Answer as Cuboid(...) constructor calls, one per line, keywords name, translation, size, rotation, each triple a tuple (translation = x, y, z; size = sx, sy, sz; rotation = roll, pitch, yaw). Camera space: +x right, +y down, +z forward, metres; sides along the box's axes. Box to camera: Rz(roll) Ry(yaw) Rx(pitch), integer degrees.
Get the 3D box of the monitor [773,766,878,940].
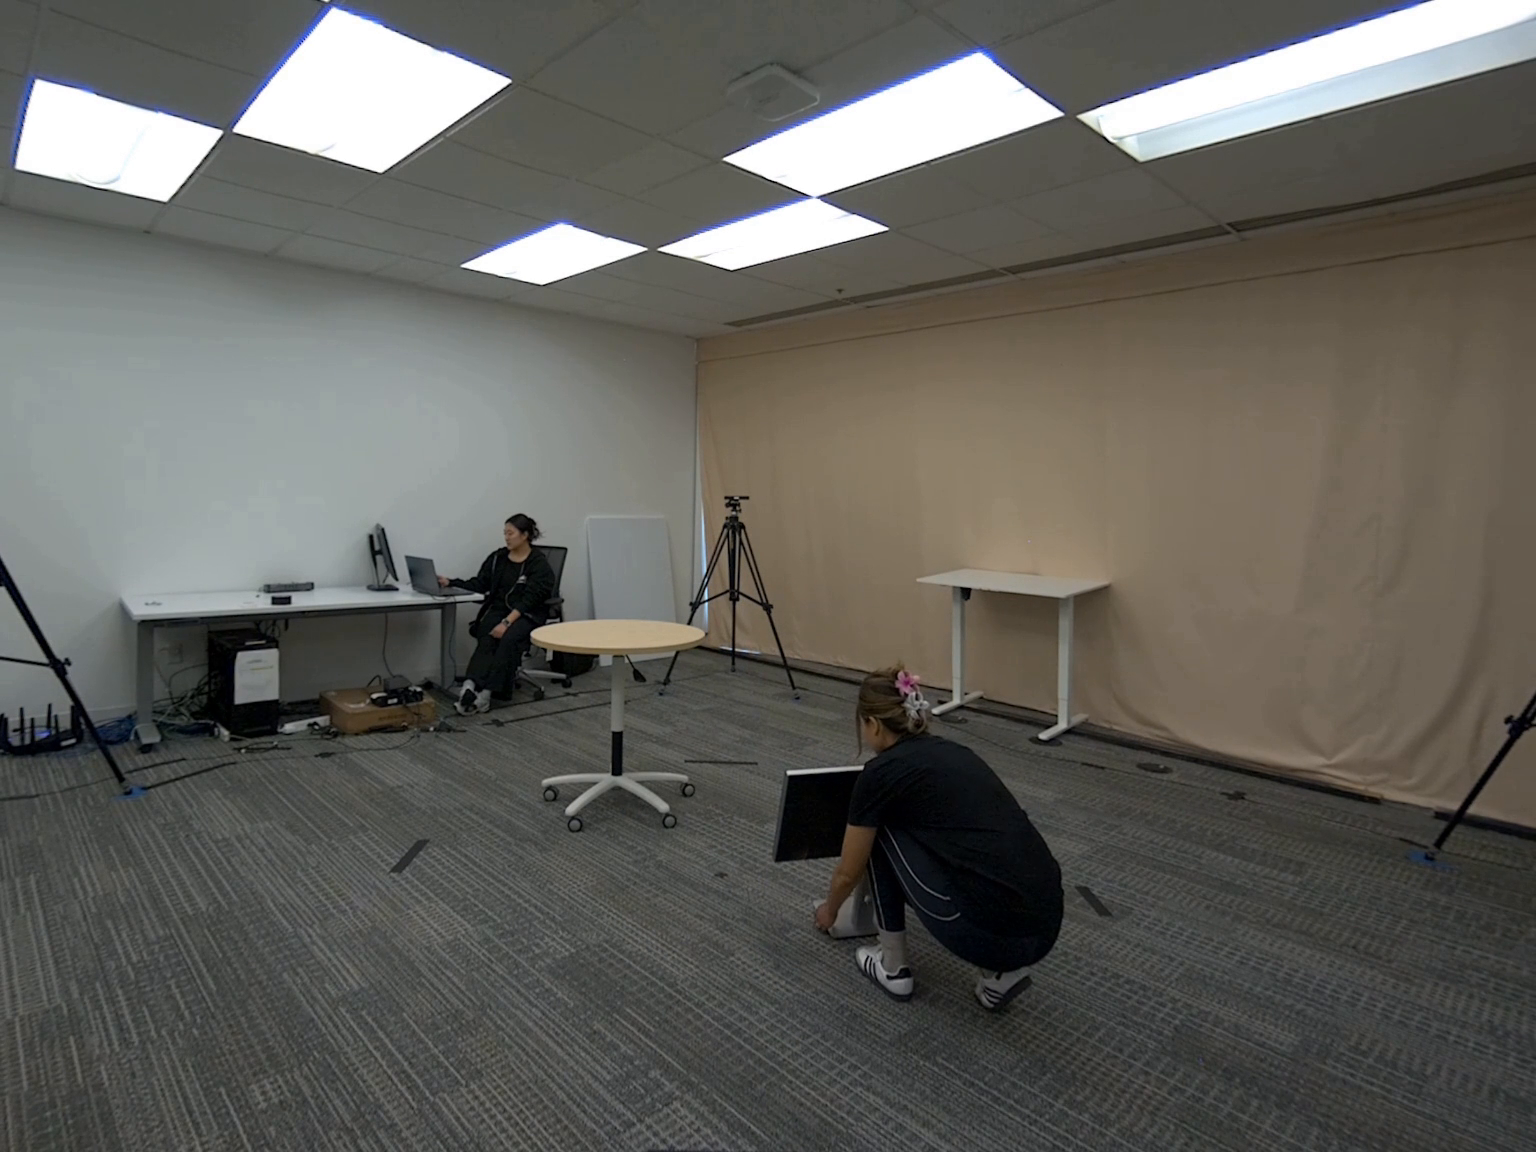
Cuboid(name="monitor", translation=(0.307, 0.871, 2.735), size=(0.532, 0.518, 0.191), rotation=(-1, 13, -16))
